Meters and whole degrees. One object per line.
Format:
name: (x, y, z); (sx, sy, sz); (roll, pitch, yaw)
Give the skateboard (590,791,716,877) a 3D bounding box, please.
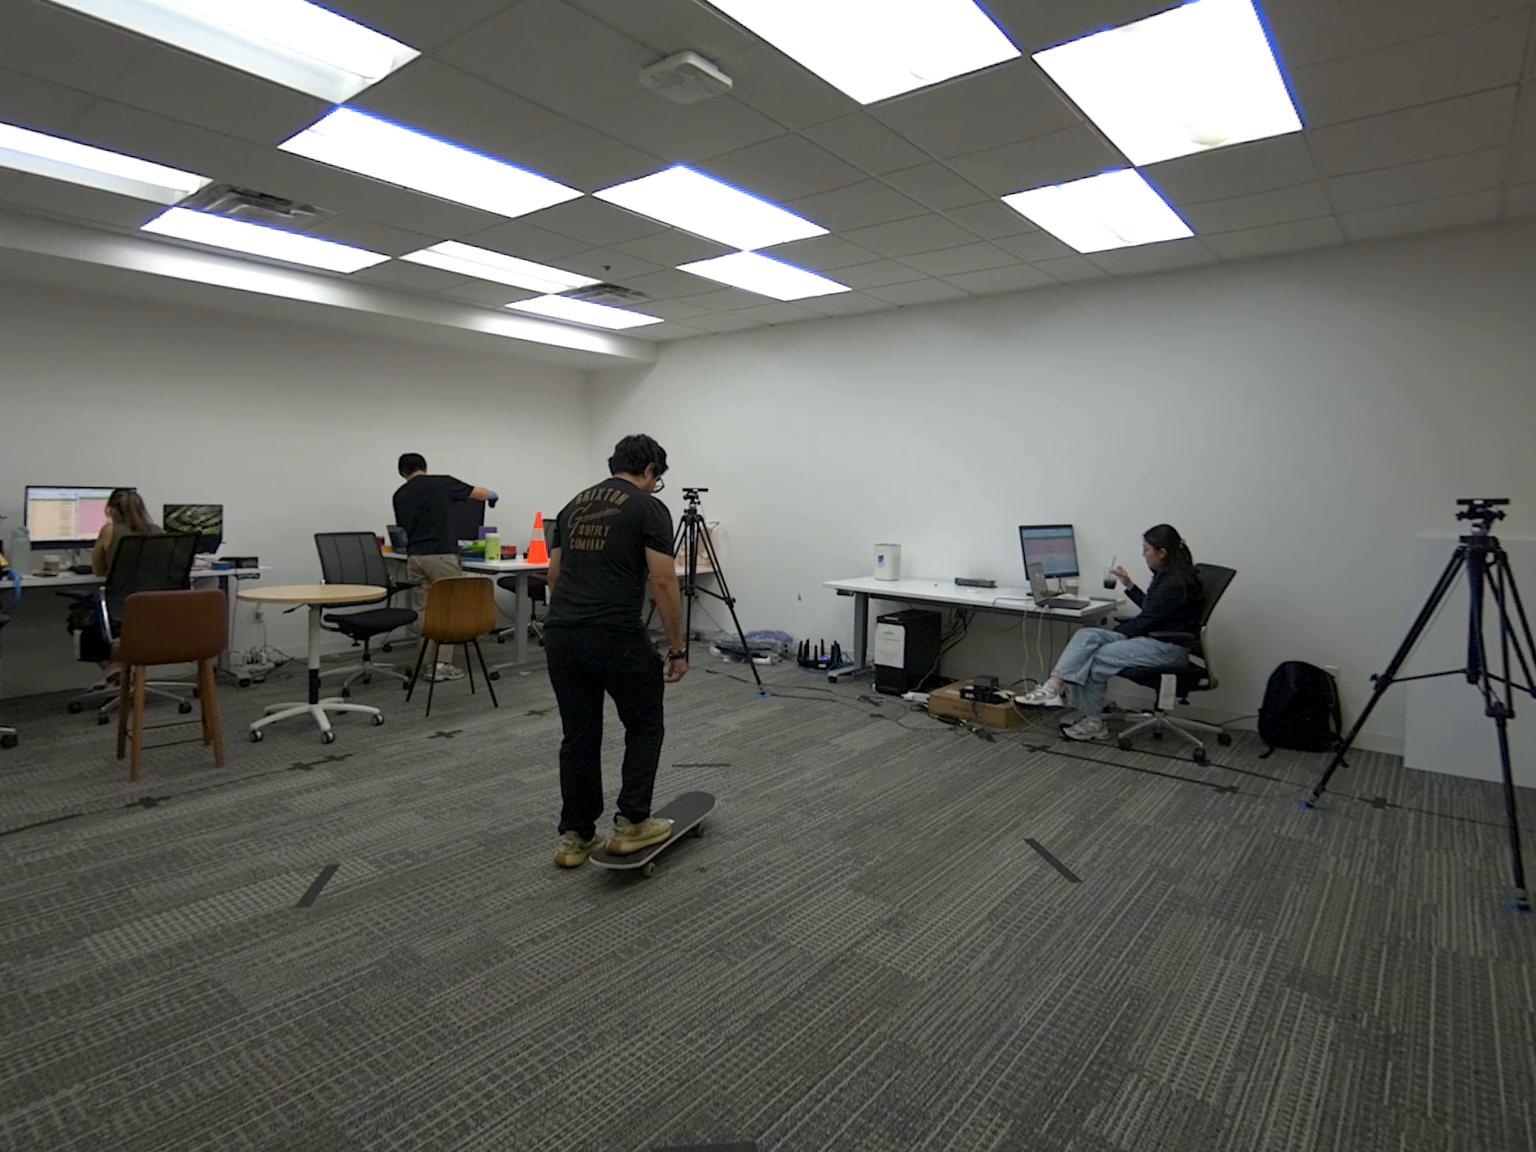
skateboard: (-0.433, 1.000, 3.258); (0.198, 0.110, 0.770); (2, 6, 22)
